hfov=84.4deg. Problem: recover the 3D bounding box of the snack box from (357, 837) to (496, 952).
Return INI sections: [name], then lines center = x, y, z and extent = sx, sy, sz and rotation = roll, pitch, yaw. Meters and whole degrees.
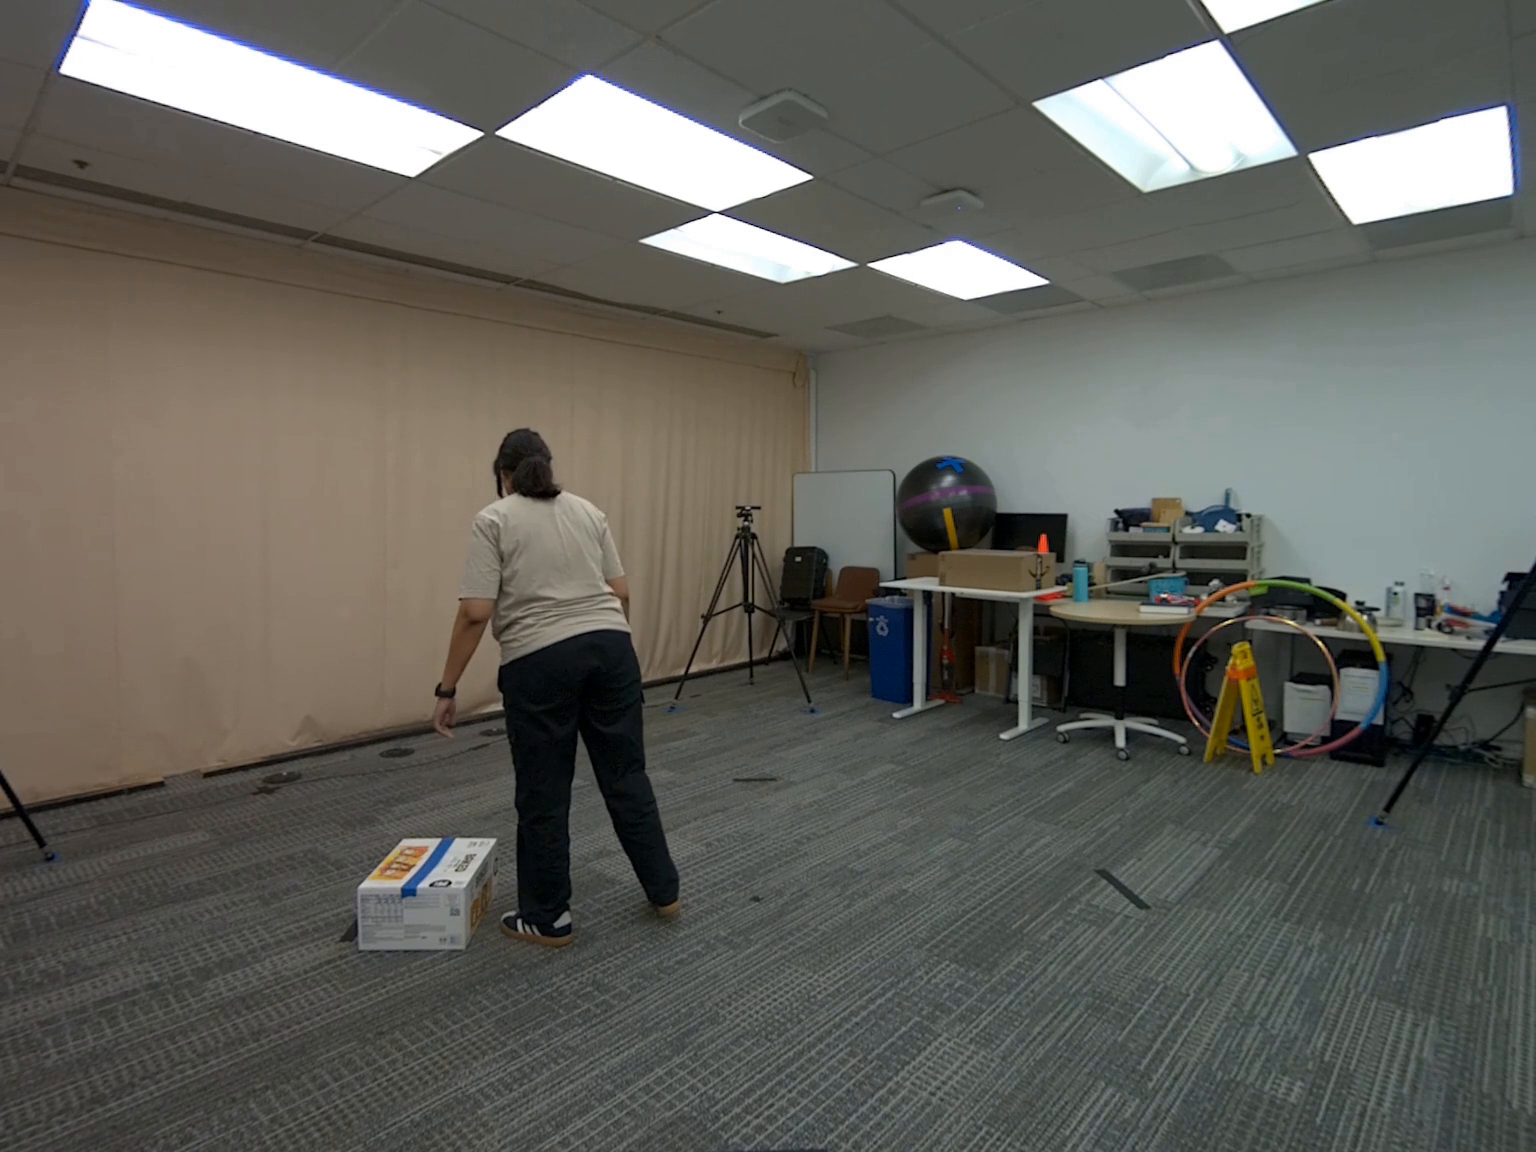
[snack box]
center = -1.136, 1.071, 2.840
extent = 0.340, 0.205, 0.406
rotation = -1, 4, -2
